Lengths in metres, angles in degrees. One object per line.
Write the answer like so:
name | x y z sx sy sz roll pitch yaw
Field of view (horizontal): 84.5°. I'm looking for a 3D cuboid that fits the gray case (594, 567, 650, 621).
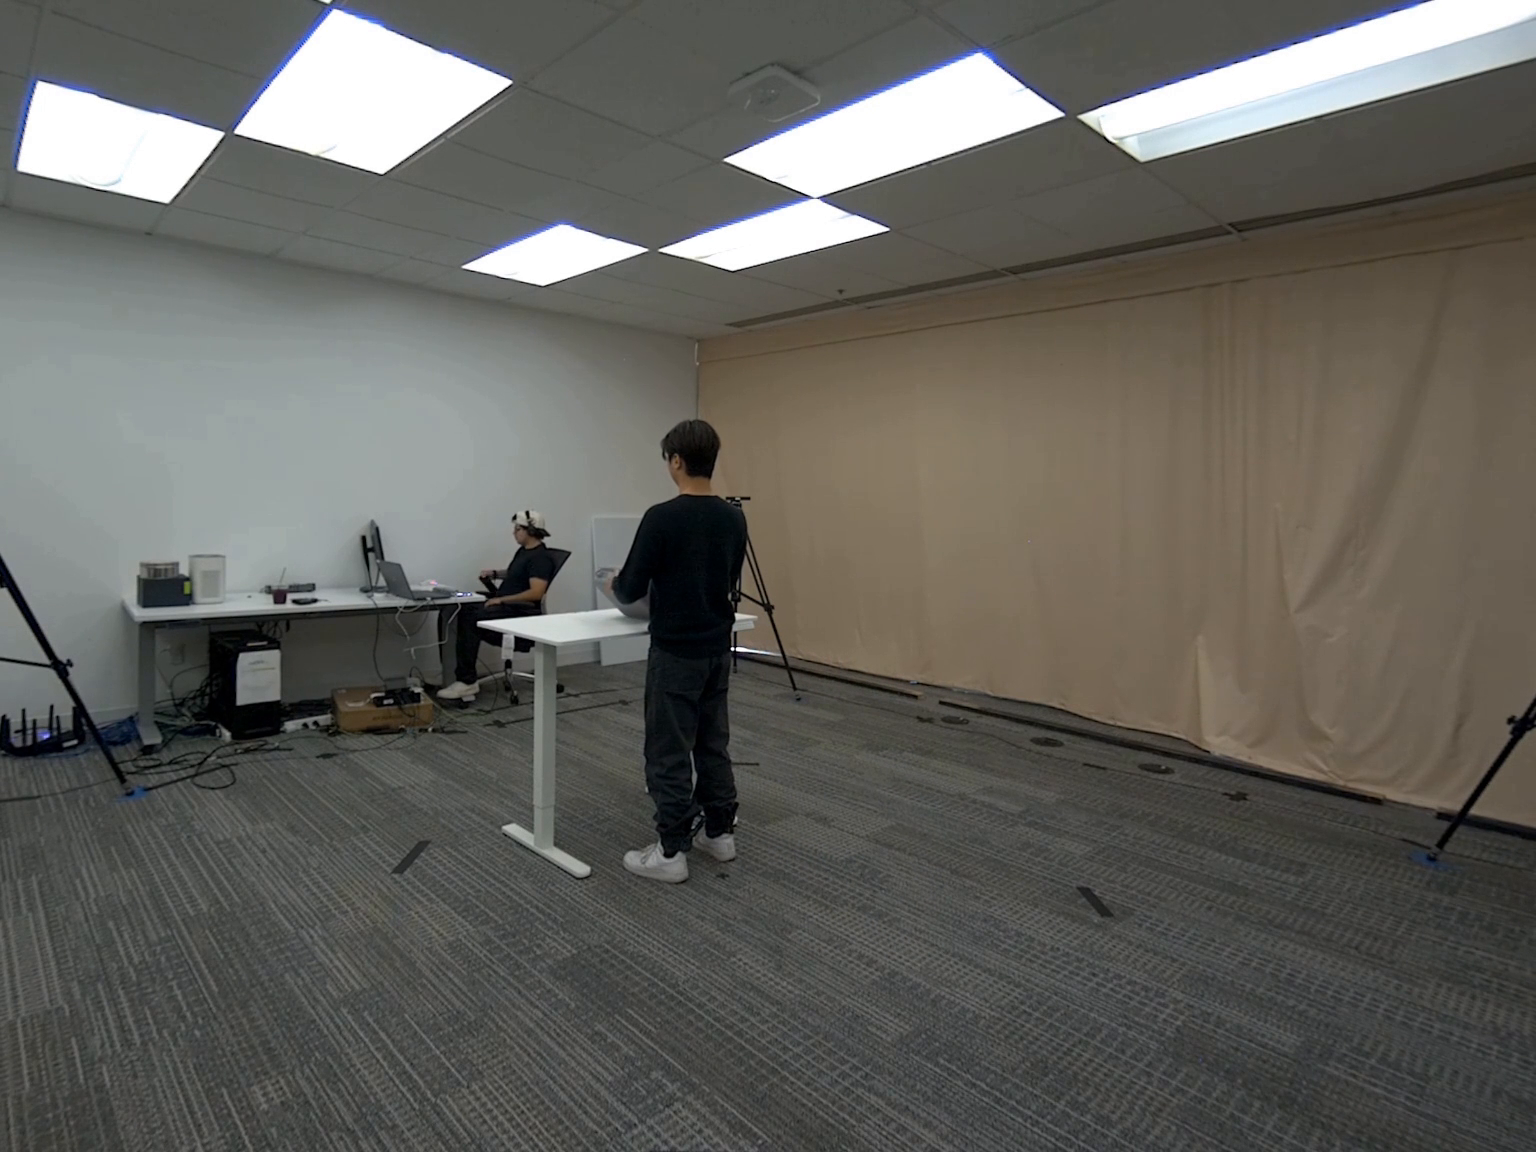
gray case | -0.570 0.065 3.466 0.267 0.105 0.249 4 -36 44
